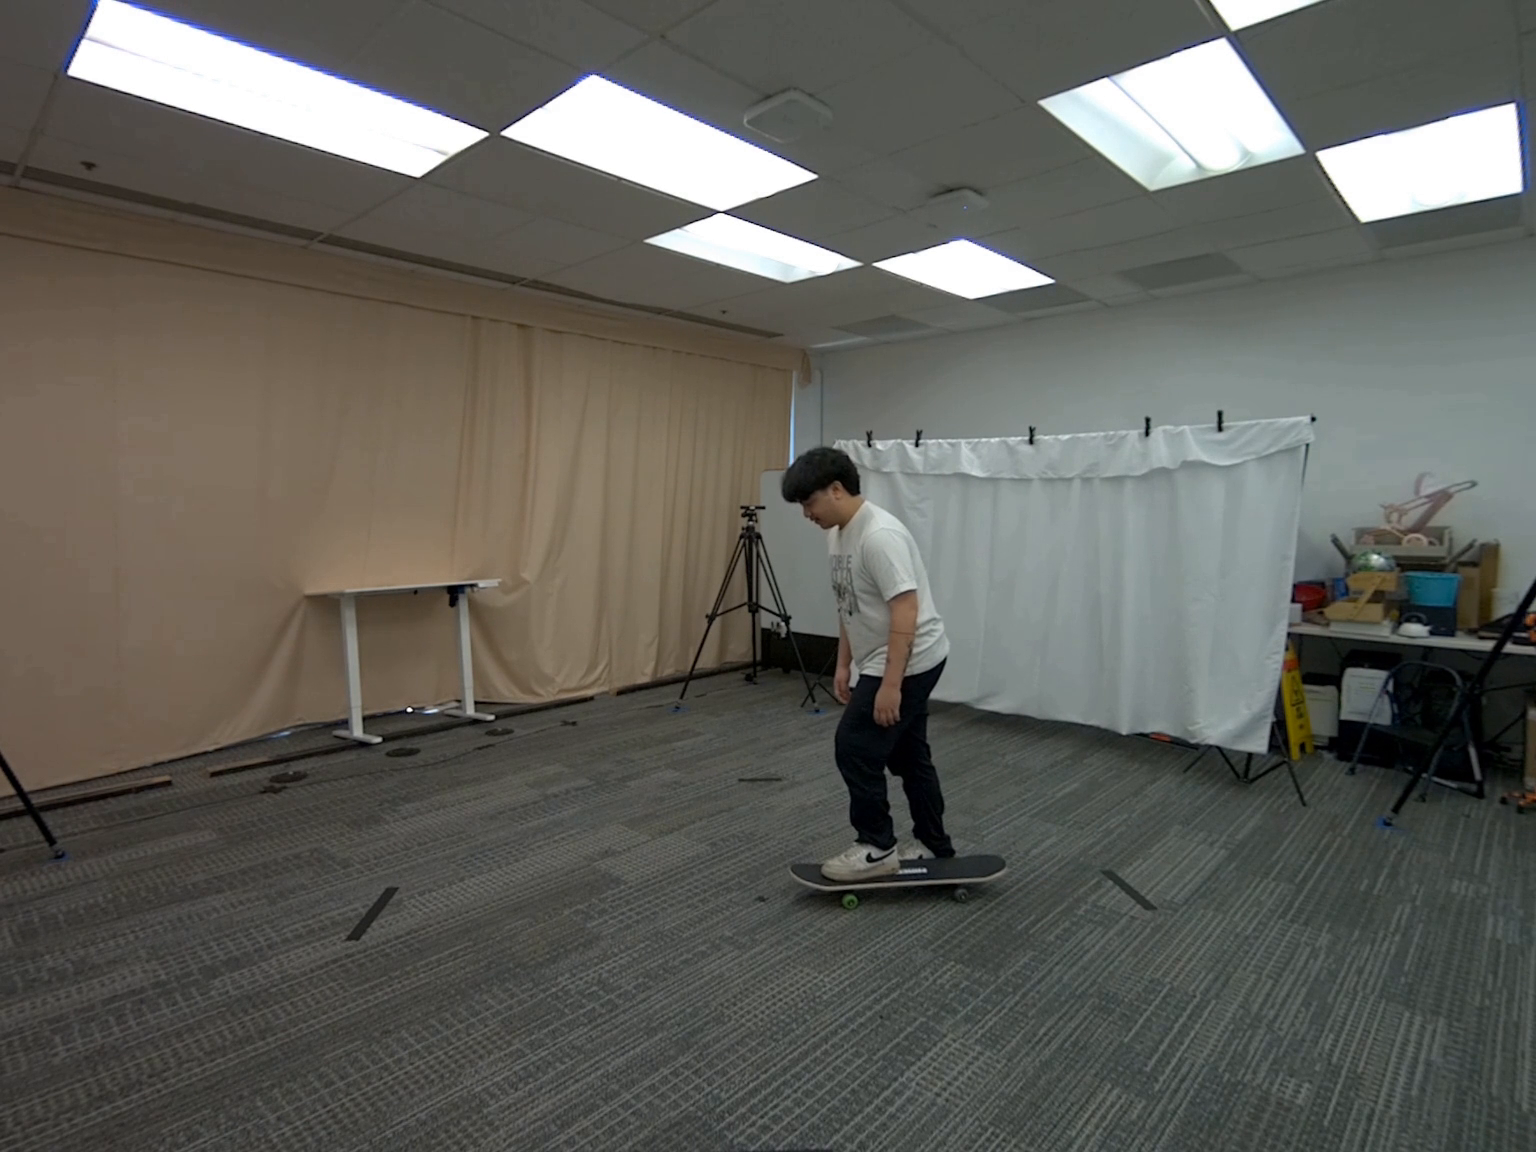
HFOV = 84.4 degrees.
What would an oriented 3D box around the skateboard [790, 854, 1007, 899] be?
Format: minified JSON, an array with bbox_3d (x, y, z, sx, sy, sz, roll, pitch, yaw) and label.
[{"bbox_3d":[0.474,1.079,3.008,0.780,0.110,0.195,-1,4,-6],"label":"skateboard"}]
